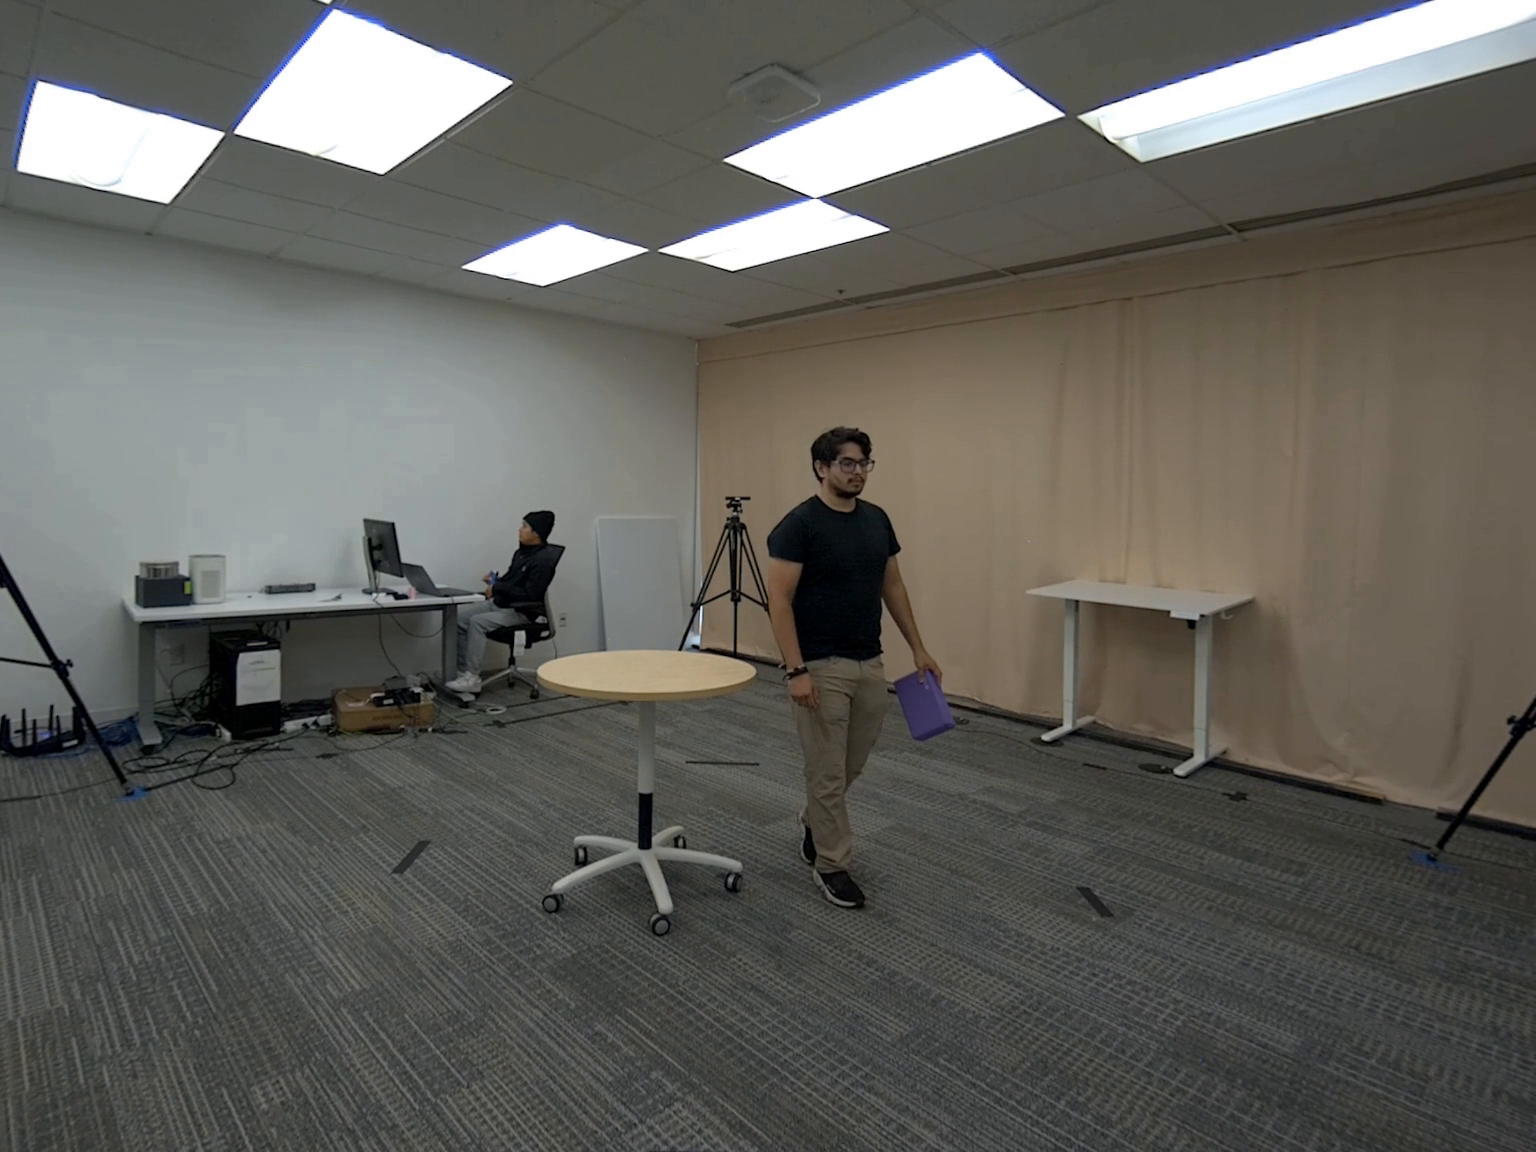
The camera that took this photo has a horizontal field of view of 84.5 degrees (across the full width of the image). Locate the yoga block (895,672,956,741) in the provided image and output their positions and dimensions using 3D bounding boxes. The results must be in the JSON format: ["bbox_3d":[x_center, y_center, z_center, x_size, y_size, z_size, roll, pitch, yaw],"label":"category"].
[{"bbox_3d":[0.557,0.466,3.058,0.150,0.234,0.074,-32,-31,28],"label":"yoga block"}]
